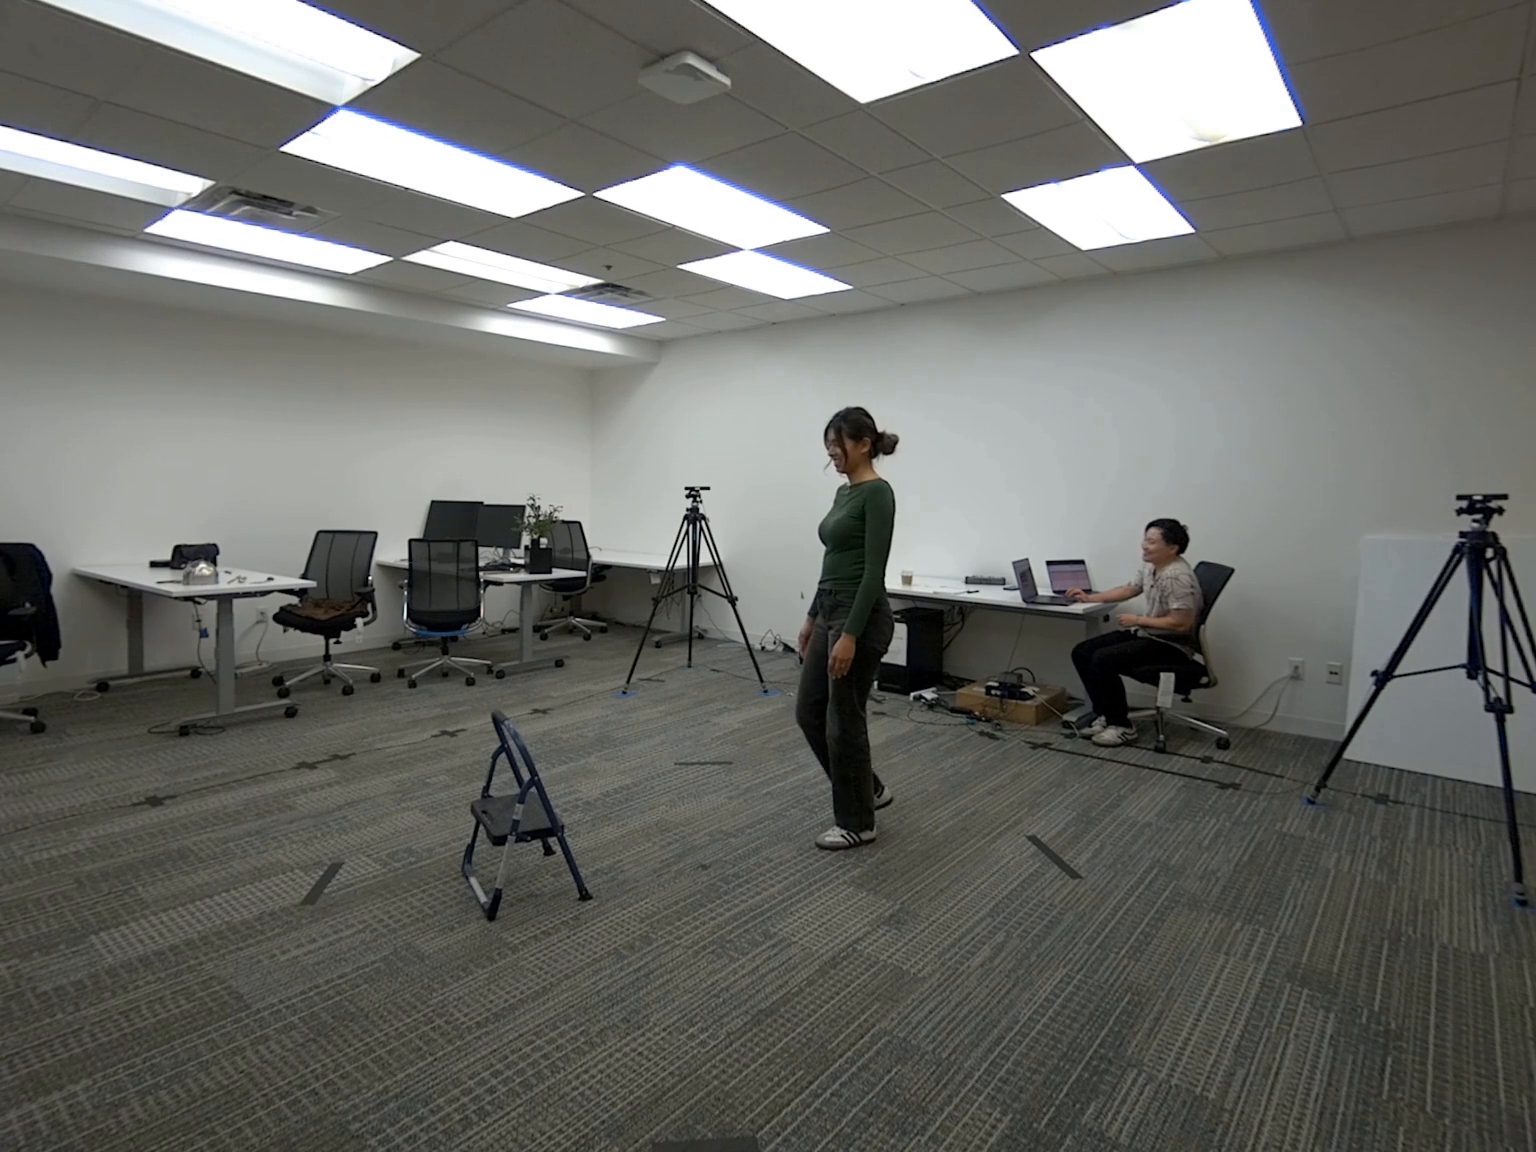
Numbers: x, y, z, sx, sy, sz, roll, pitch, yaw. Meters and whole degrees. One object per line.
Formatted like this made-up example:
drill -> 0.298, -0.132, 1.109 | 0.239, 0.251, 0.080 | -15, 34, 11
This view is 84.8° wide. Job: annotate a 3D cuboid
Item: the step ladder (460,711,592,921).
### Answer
step ladder -> -0.857, 0.768, 2.943 | 0.340, 0.604, 0.444 | -2, 5, -32
